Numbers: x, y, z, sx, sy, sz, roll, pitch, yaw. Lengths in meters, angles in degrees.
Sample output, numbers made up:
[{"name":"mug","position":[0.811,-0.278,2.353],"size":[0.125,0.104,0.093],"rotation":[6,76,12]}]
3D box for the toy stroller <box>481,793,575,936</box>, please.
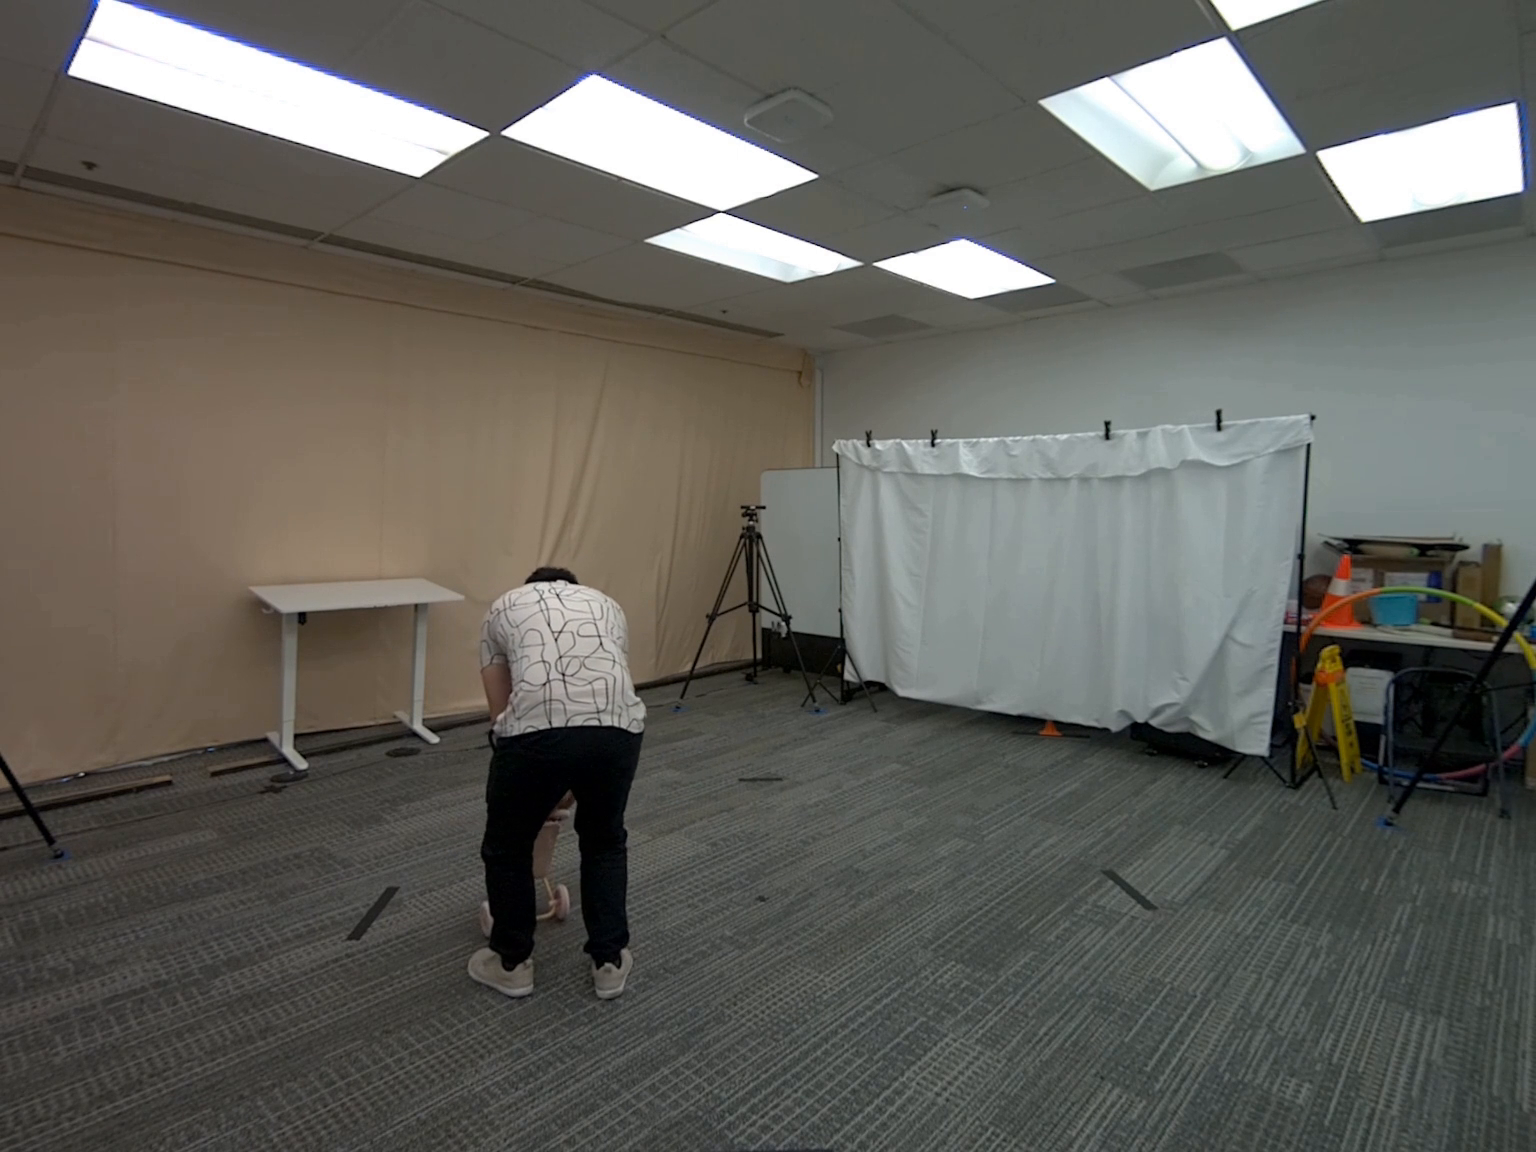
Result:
[{"name":"toy stroller","position":[-0.835,0.938,2.839],"size":[0.274,0.531,0.353],"rotation":[0,18,-28]}]
